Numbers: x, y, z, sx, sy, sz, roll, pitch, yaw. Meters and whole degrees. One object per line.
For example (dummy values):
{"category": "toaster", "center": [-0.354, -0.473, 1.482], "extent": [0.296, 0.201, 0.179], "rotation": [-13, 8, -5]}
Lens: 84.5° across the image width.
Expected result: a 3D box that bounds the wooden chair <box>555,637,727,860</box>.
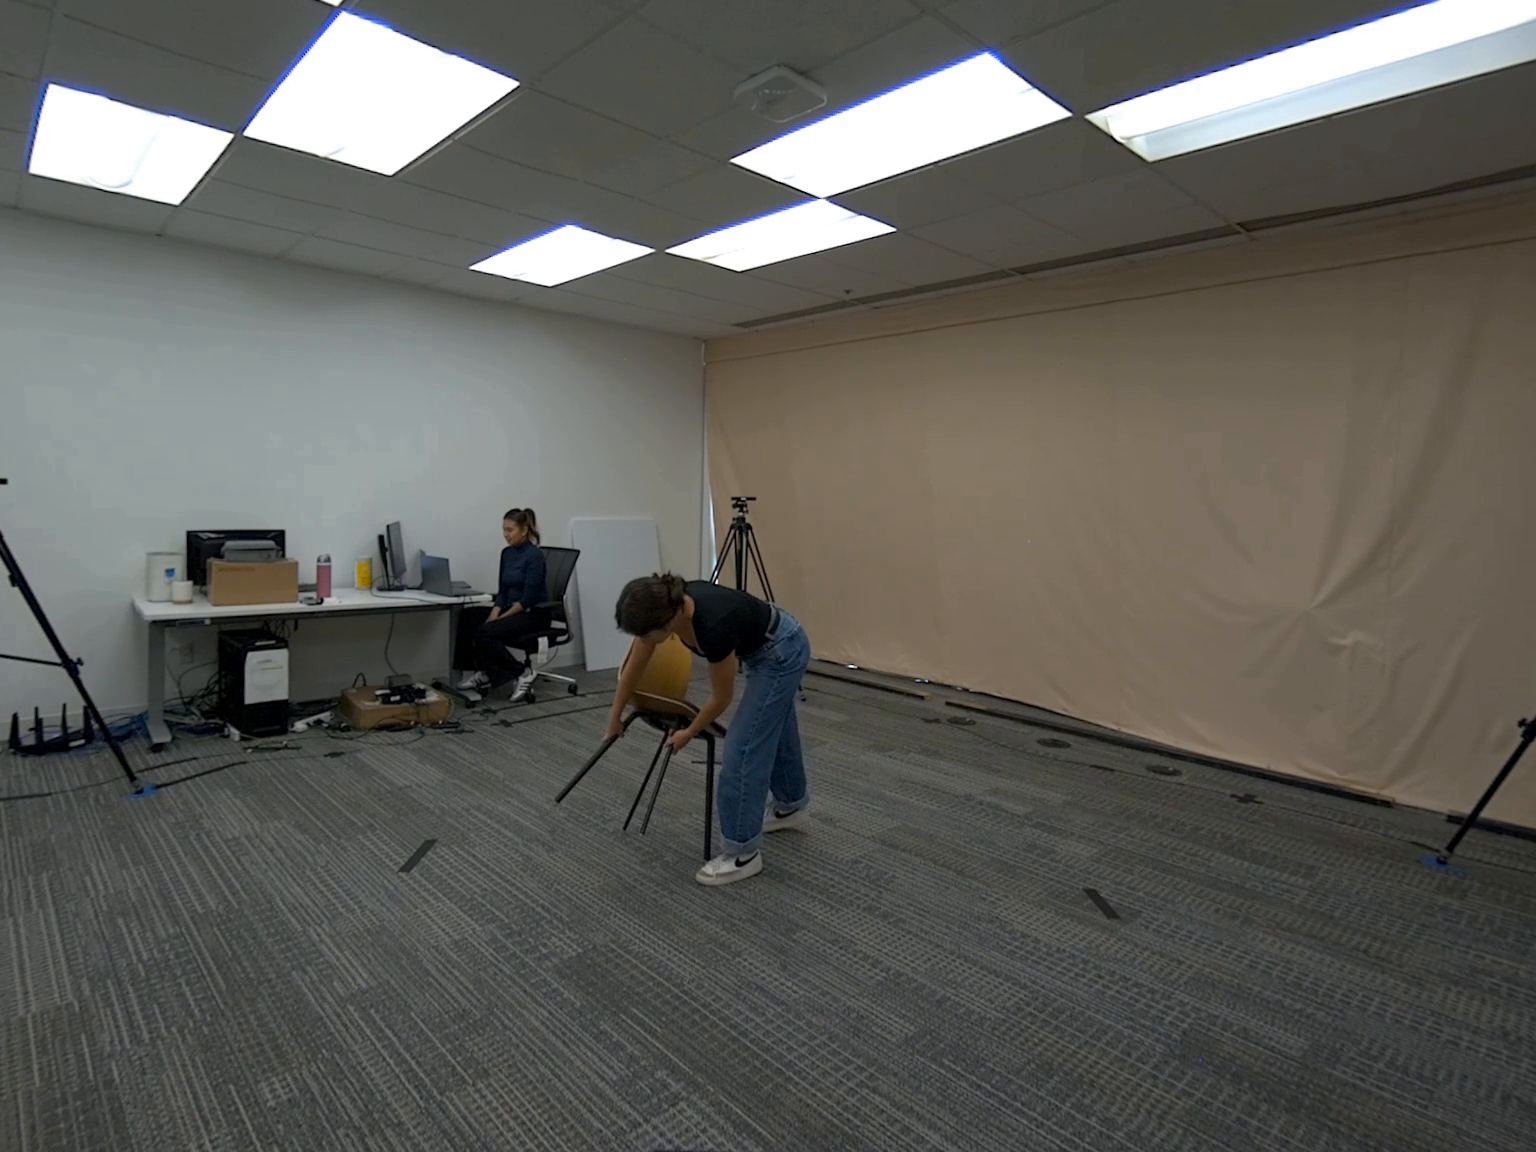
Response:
{"category": "wooden chair", "center": [-0.372, 0.598, 3.325], "extent": [0.535, 0.886, 0.463], "rotation": [1, -28, 33]}
